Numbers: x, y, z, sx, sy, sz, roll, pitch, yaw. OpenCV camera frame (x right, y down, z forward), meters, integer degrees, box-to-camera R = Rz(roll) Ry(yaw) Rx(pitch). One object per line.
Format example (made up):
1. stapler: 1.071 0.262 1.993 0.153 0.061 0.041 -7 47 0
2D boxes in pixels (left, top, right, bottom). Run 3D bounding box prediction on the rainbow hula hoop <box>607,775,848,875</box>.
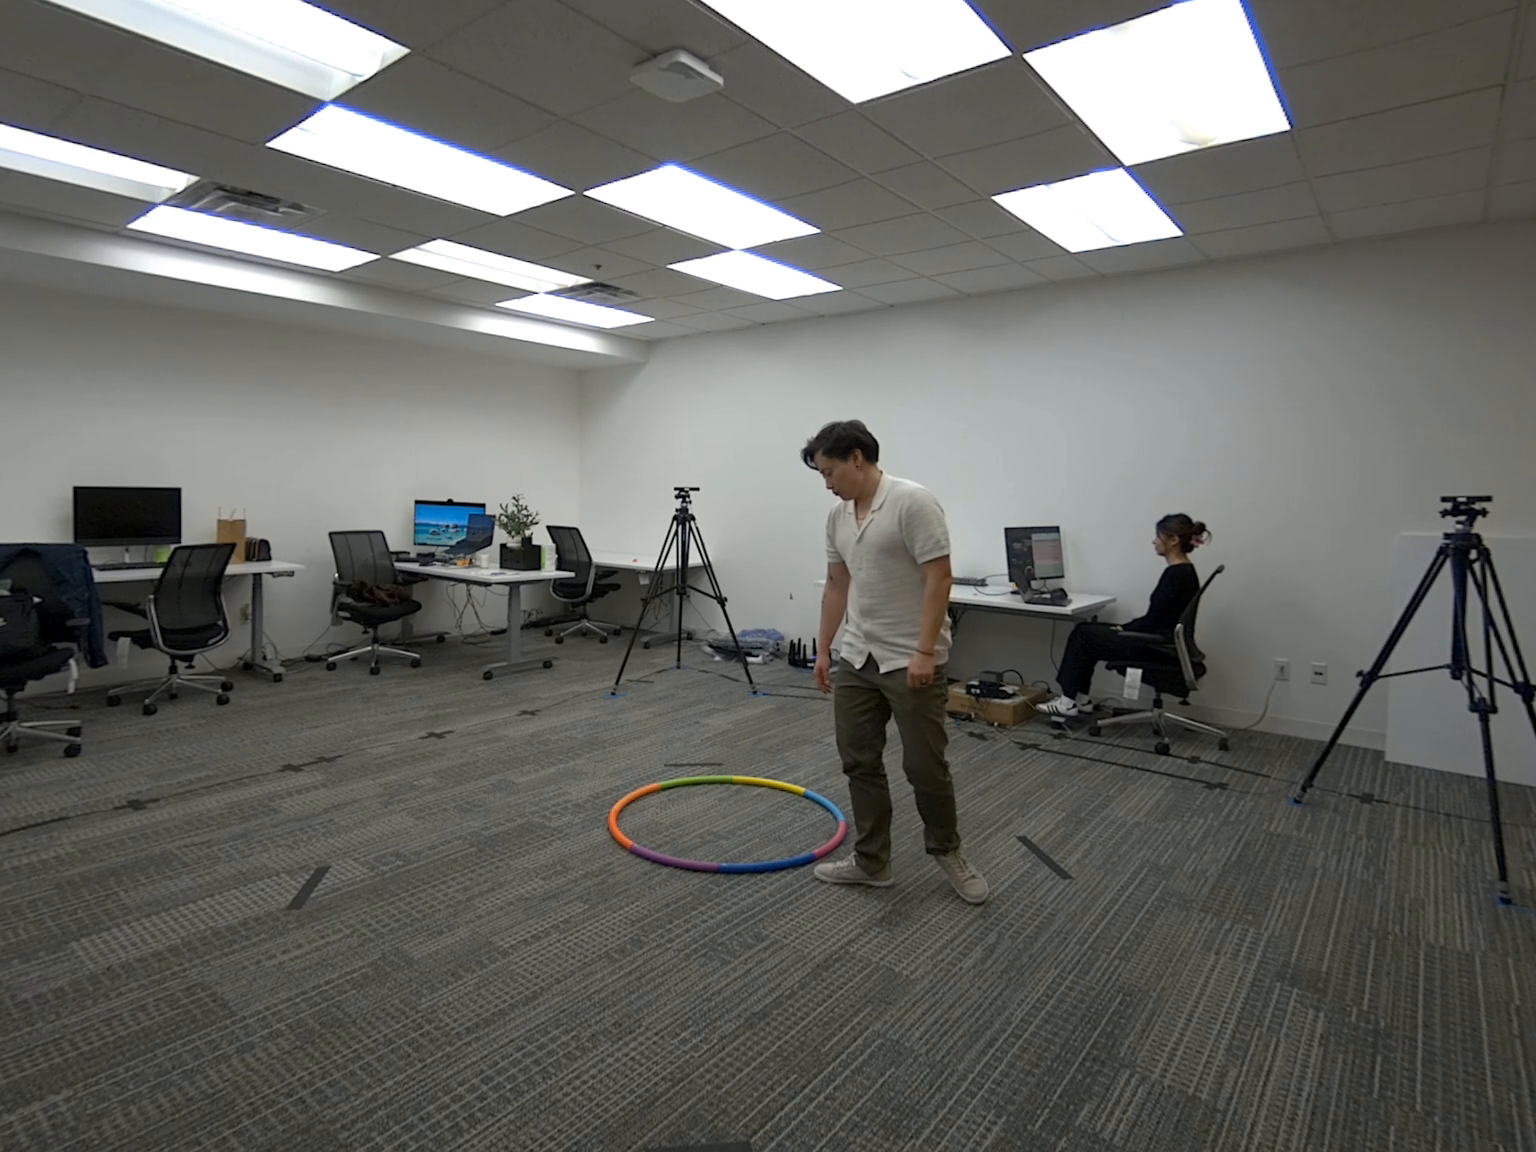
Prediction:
1. rainbow hula hoop: -0.184 0.993 3.543 0.978 0.035 0.984 1 6 -2
